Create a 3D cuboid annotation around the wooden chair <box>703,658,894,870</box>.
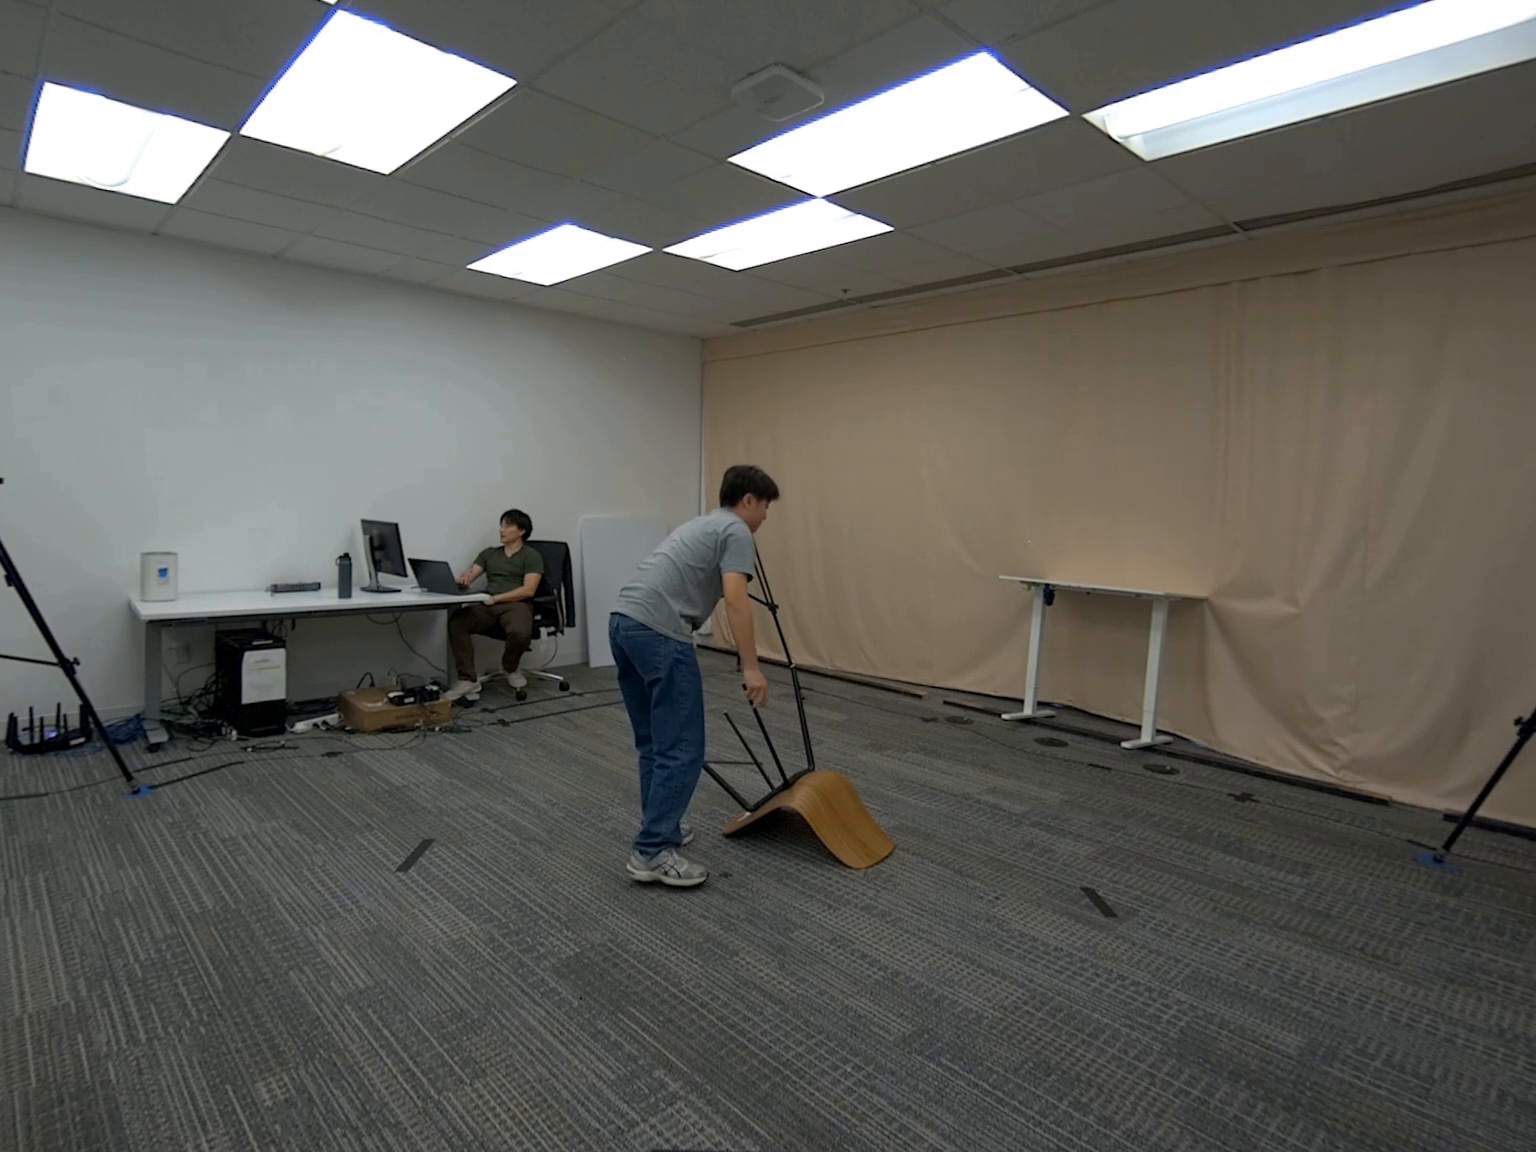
[{"bbox_3d":[0.050,0.900,3.542,0.524,0.893,0.469,-42,-18,25],"label":"wooden chair"}]
